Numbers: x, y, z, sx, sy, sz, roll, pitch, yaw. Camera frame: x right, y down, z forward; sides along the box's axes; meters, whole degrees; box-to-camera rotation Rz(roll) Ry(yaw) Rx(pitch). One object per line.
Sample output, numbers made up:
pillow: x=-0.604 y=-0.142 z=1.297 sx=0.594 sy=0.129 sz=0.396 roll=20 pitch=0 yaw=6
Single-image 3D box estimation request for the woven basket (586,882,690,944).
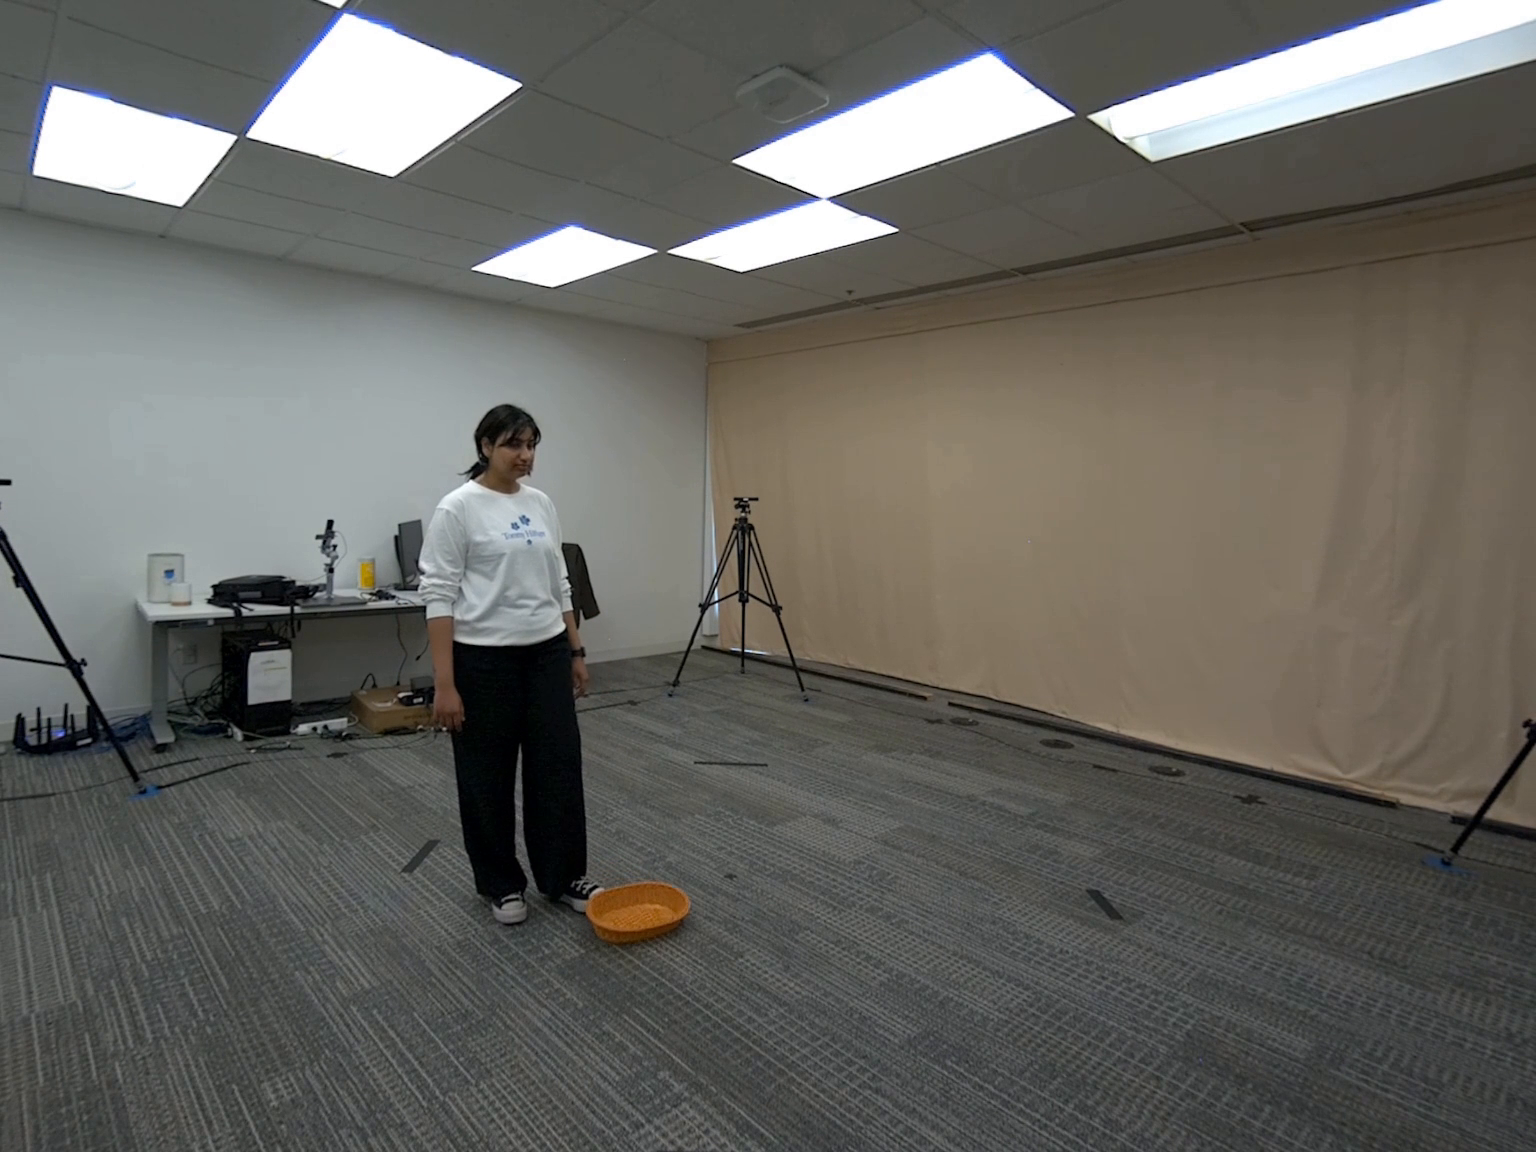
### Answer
woven basket: x=-0.424 y=1.095 z=2.716 sx=0.343 sy=0.073 sz=0.259 roll=1 pitch=9 yaw=-31
